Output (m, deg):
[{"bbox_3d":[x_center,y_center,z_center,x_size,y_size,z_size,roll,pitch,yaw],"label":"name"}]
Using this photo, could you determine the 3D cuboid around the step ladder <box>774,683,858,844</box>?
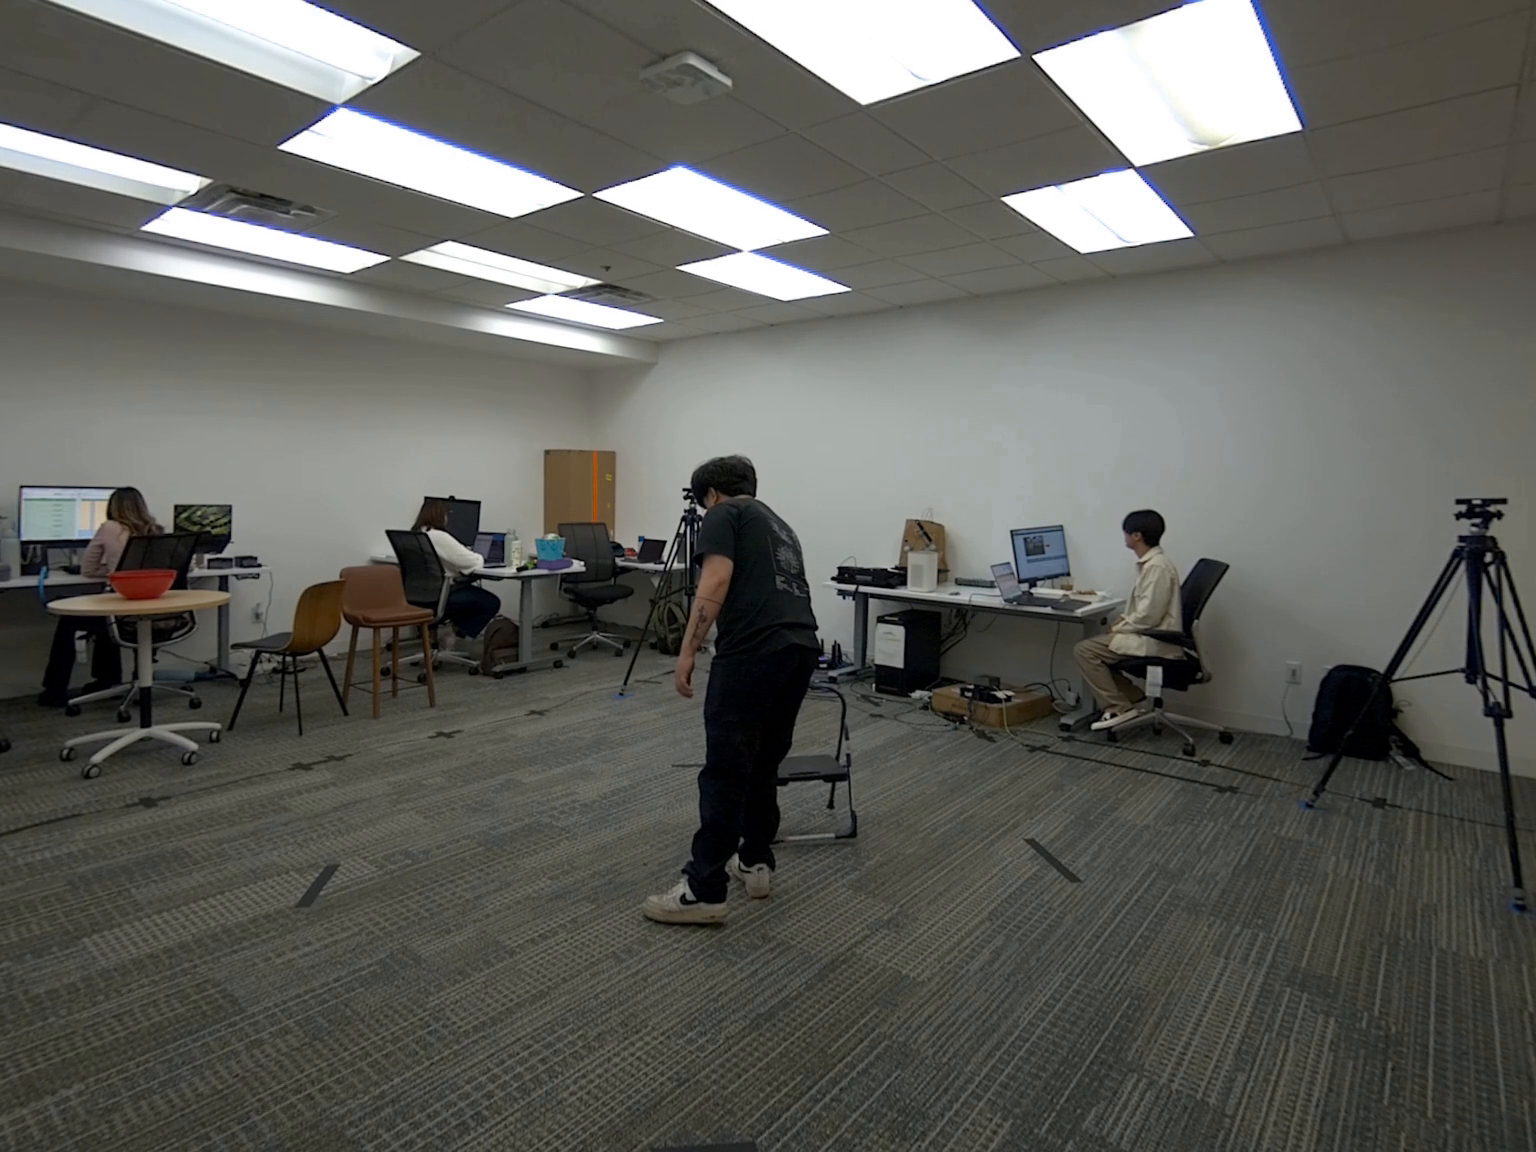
[{"bbox_3d":[0.108,0.724,3.463,0.425,0.604,0.355,-1,4,-12],"label":"step ladder"}]
